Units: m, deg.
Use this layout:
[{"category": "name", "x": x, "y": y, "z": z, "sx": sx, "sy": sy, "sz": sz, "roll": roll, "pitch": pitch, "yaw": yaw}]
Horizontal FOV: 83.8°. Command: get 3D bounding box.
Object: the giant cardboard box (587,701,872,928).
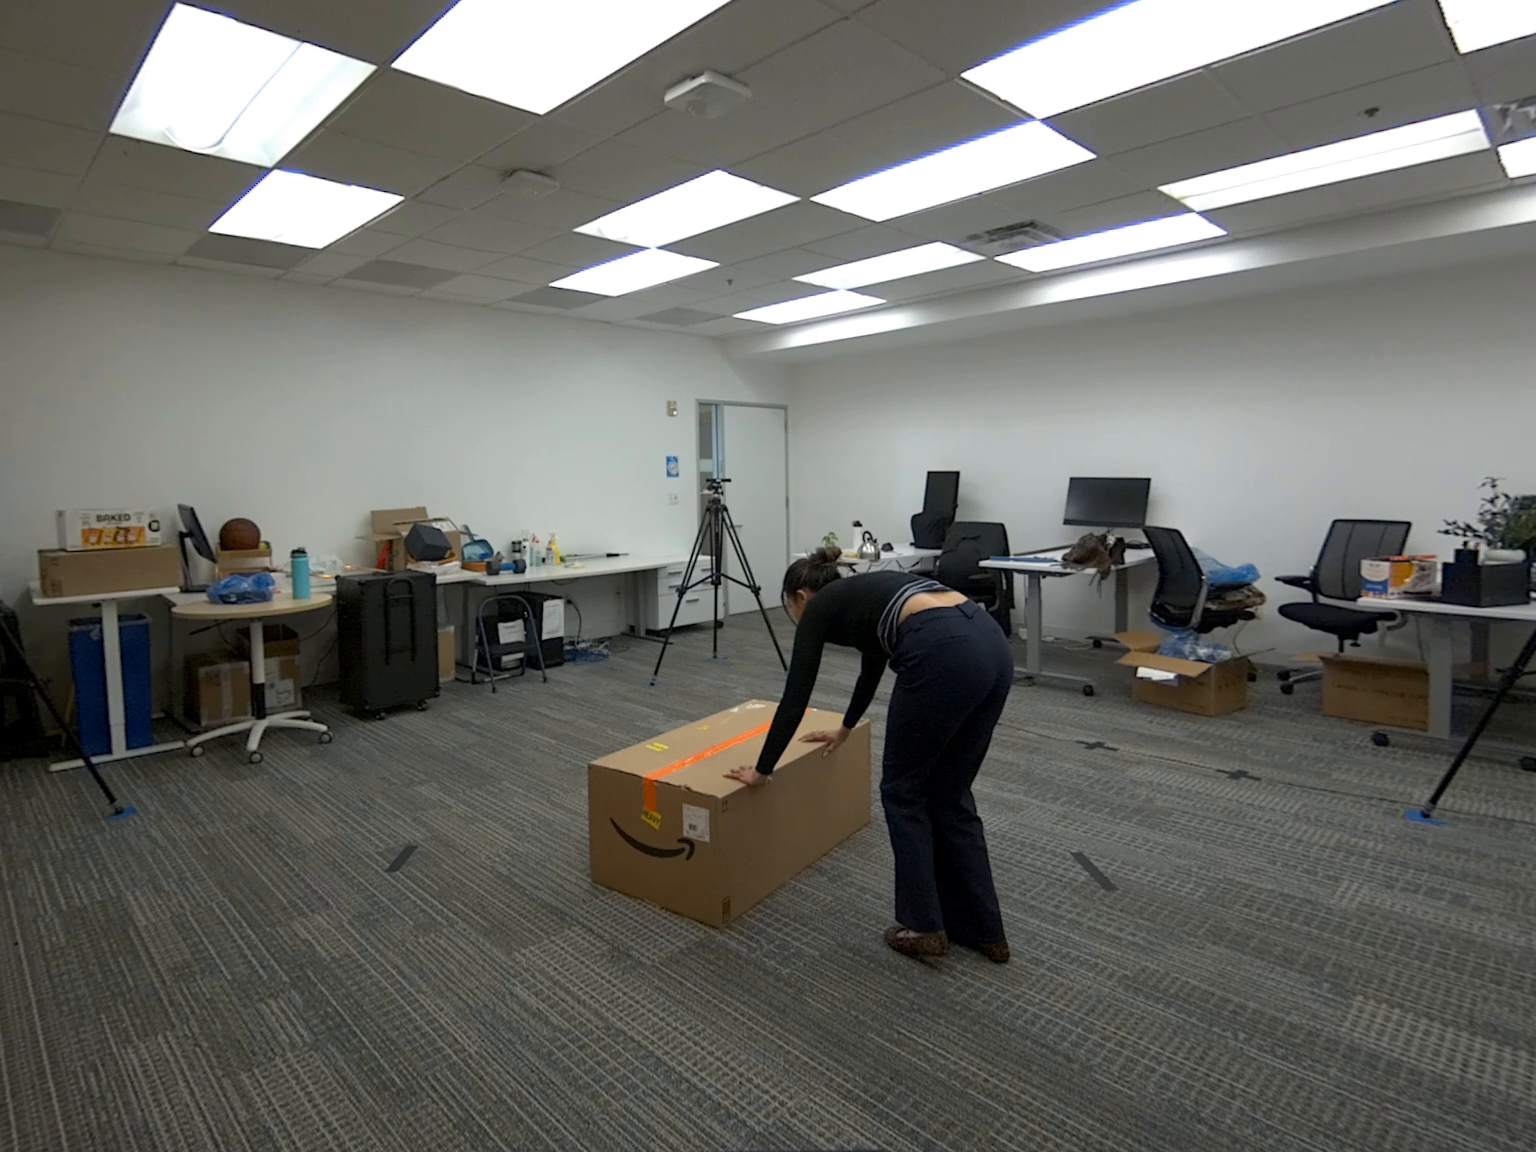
[{"category": "giant cardboard box", "x": -0.105, "y": 0.820, "z": 3.213, "sx": 0.594, "sy": 0.424, "sz": 1.001, "roll": 4, "pitch": 8, "yaw": 34}]
